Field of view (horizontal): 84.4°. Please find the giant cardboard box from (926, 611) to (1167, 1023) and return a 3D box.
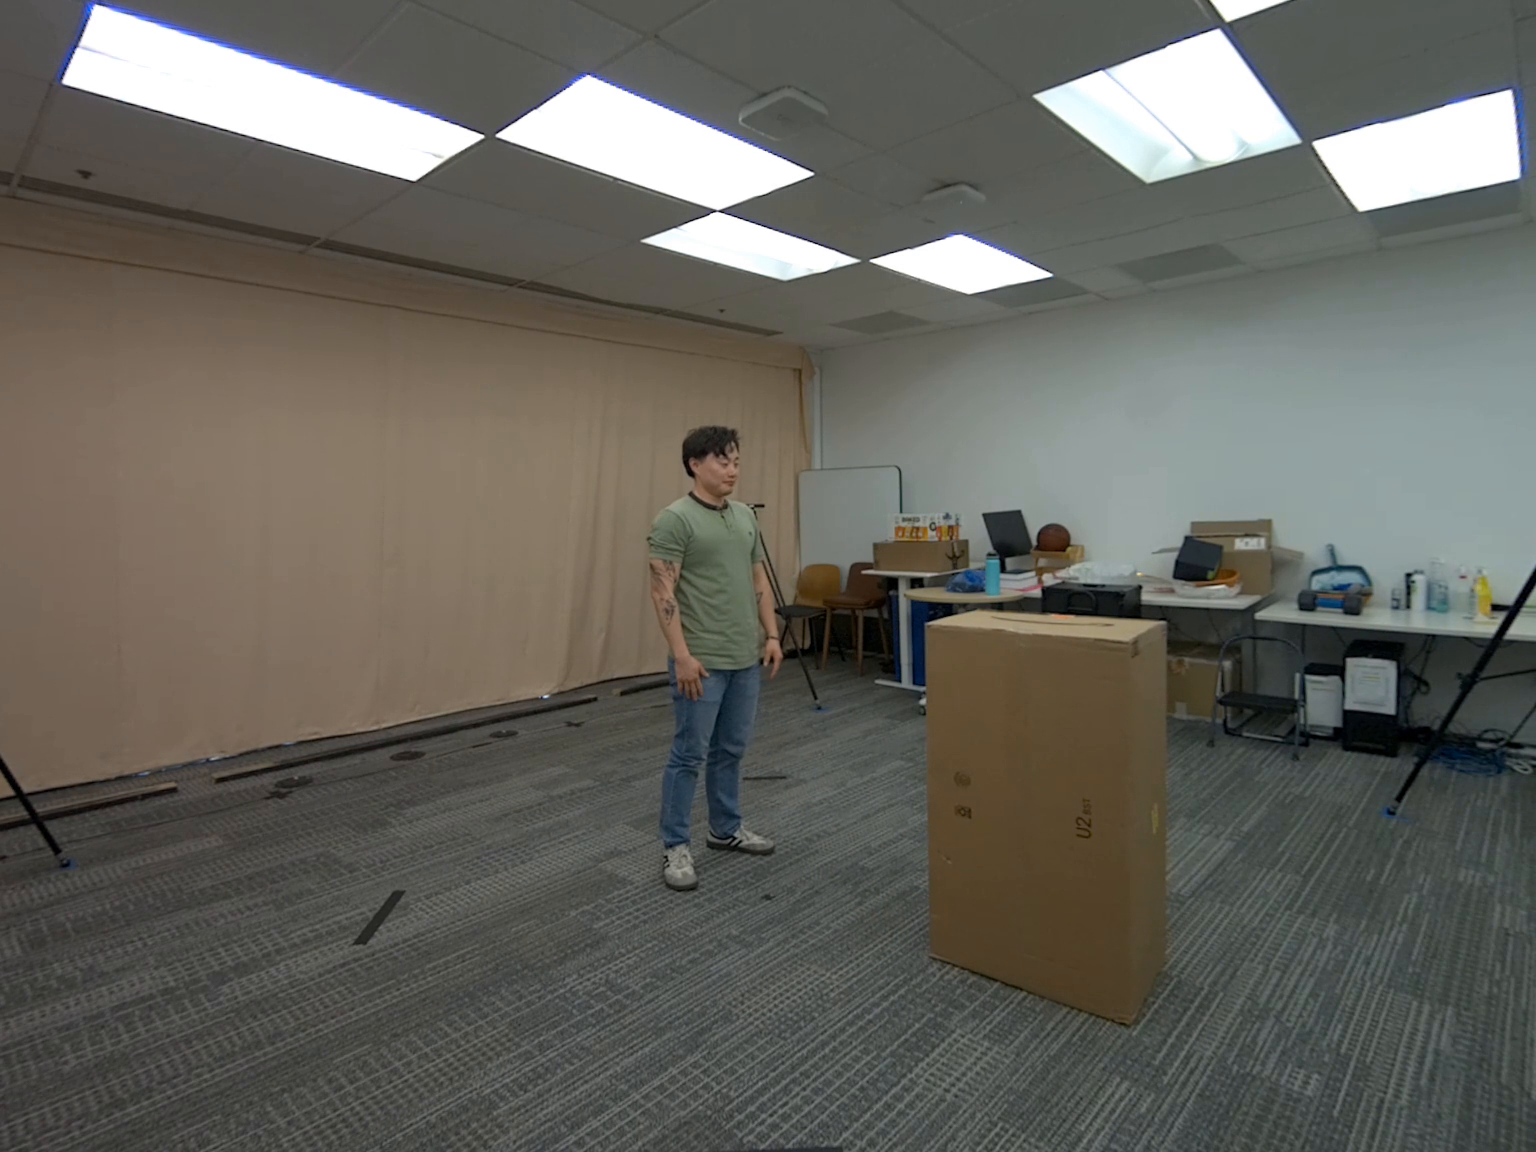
[{"bbox_3d":[0.842,0.653,2.533,0.596,1.024,0.413,2,4,38],"label":"giant cardboard box"}]
